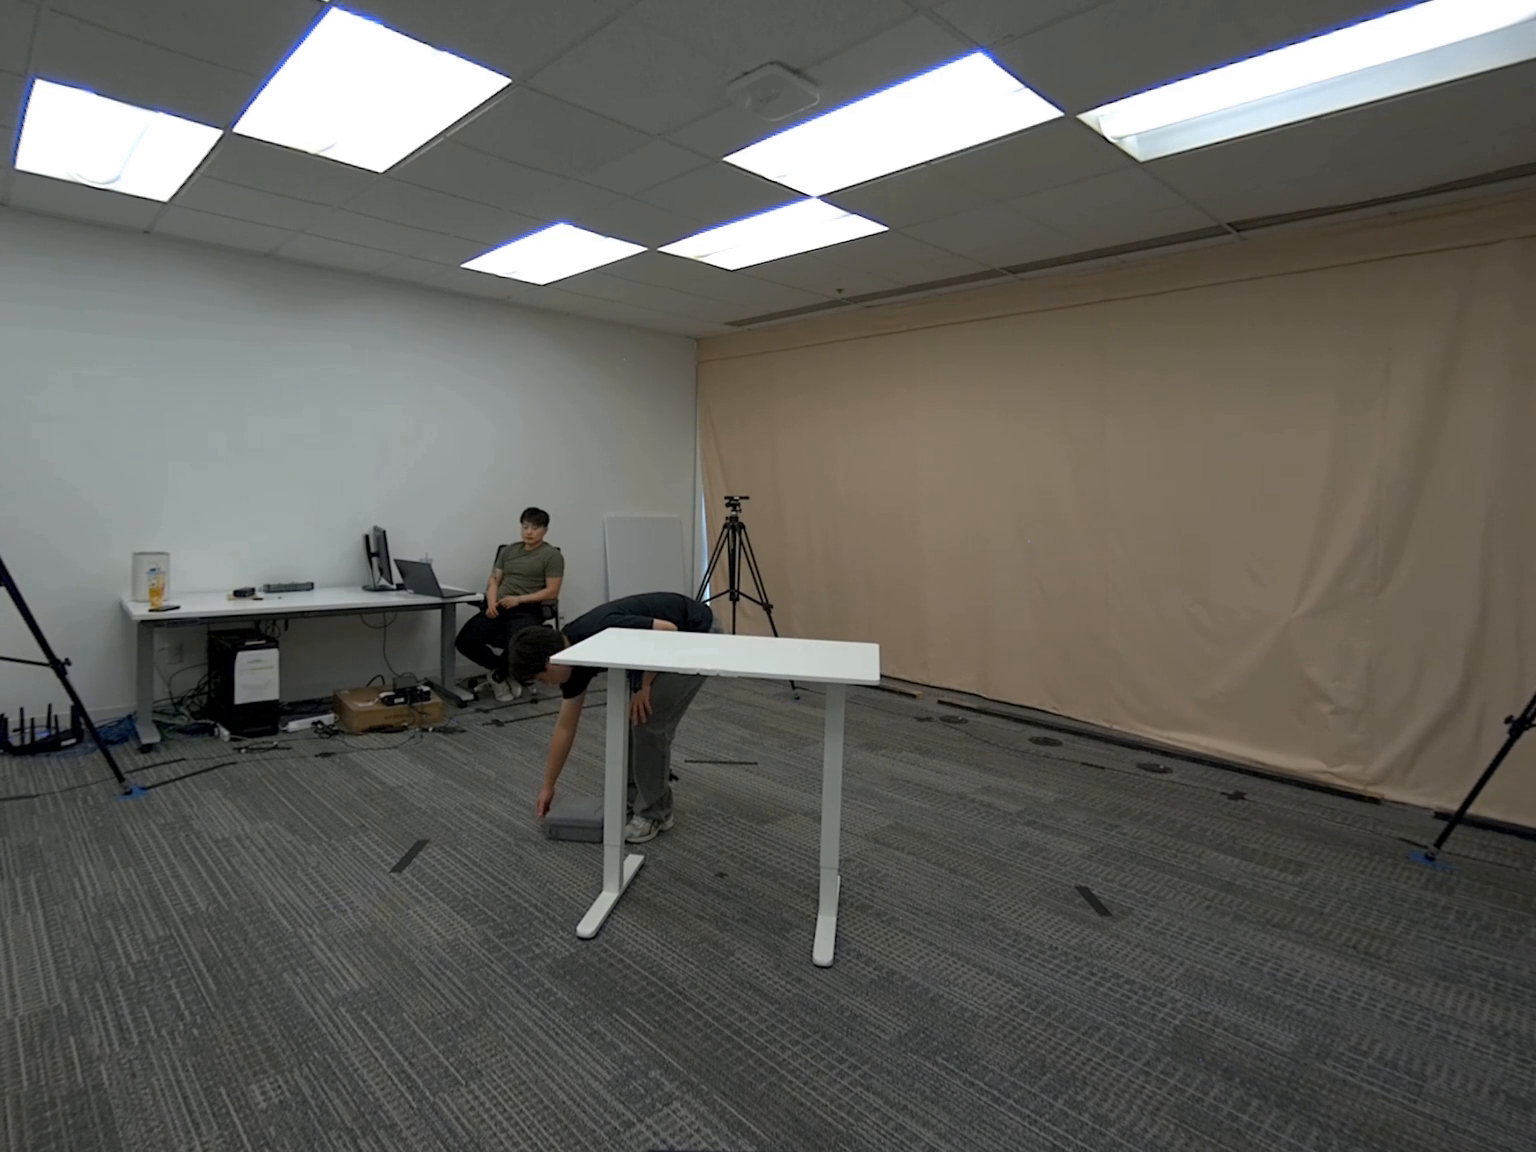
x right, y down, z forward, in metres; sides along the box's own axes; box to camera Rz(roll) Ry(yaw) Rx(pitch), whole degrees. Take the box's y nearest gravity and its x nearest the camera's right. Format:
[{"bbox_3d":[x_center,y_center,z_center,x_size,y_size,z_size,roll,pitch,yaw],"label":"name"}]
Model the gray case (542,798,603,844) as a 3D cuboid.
[{"bbox_3d":[-0.779,0.996,3.489,0.289,0.103,0.262,3,6,8],"label":"gray case"}]
